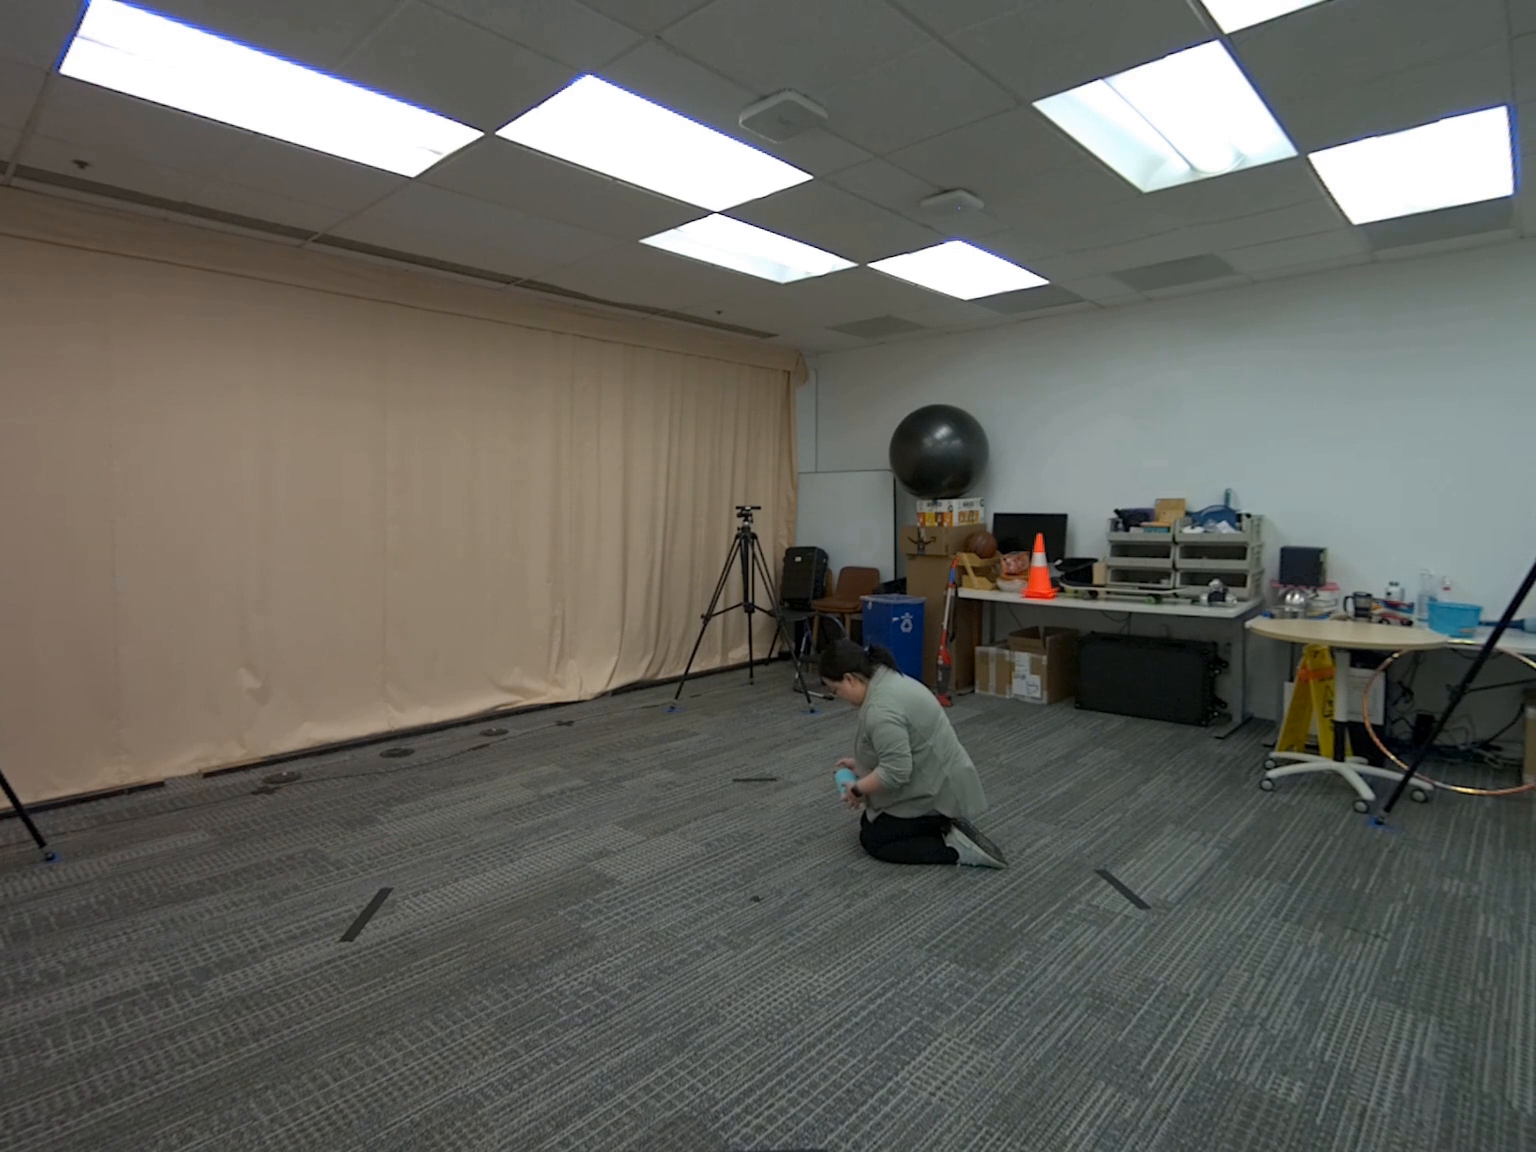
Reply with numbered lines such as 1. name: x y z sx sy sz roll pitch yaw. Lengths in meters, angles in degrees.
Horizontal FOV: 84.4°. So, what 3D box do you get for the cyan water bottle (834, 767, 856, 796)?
1. cyan water bottle: 0.334 0.874 3.470 0.091 0.092 0.286 -1 7 -8
